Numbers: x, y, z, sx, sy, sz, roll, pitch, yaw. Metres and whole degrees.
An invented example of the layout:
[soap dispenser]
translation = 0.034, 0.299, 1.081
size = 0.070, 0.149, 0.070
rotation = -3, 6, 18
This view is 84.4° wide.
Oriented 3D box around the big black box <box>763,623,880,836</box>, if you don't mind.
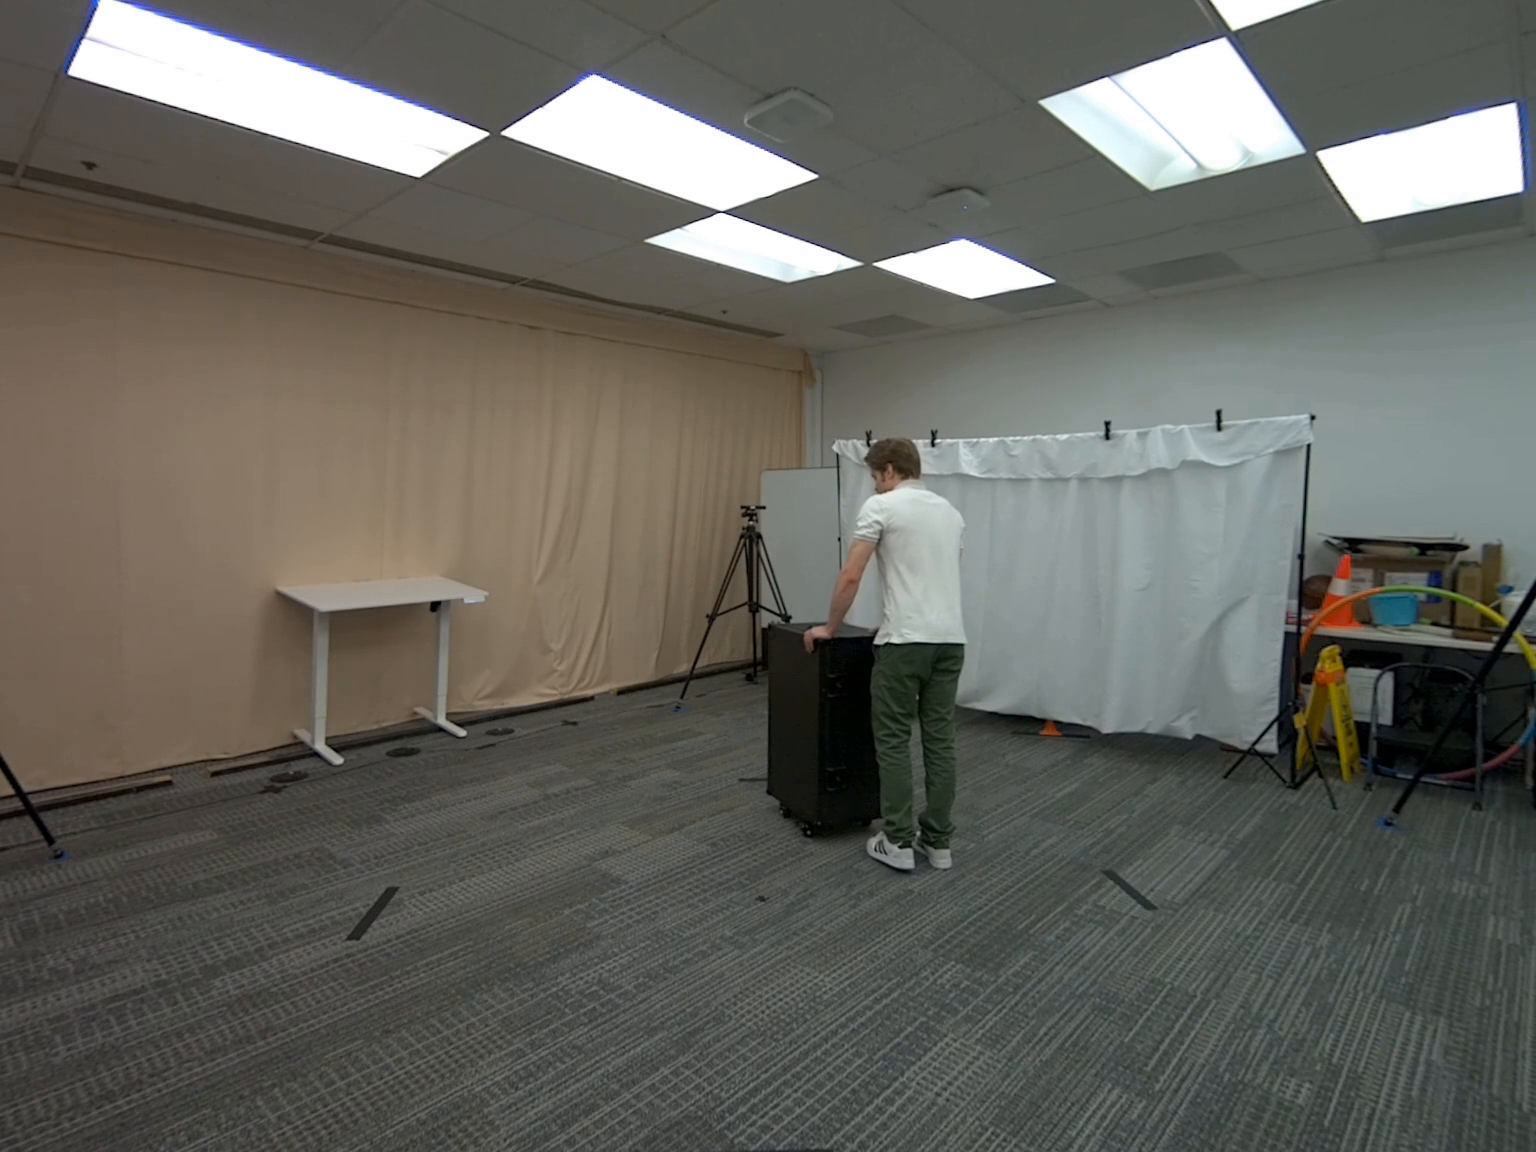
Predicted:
[big black box]
translation = 0.254, 0.657, 3.720
size = 0.376, 0.867, 0.537
rotation = 0, 3, -25
